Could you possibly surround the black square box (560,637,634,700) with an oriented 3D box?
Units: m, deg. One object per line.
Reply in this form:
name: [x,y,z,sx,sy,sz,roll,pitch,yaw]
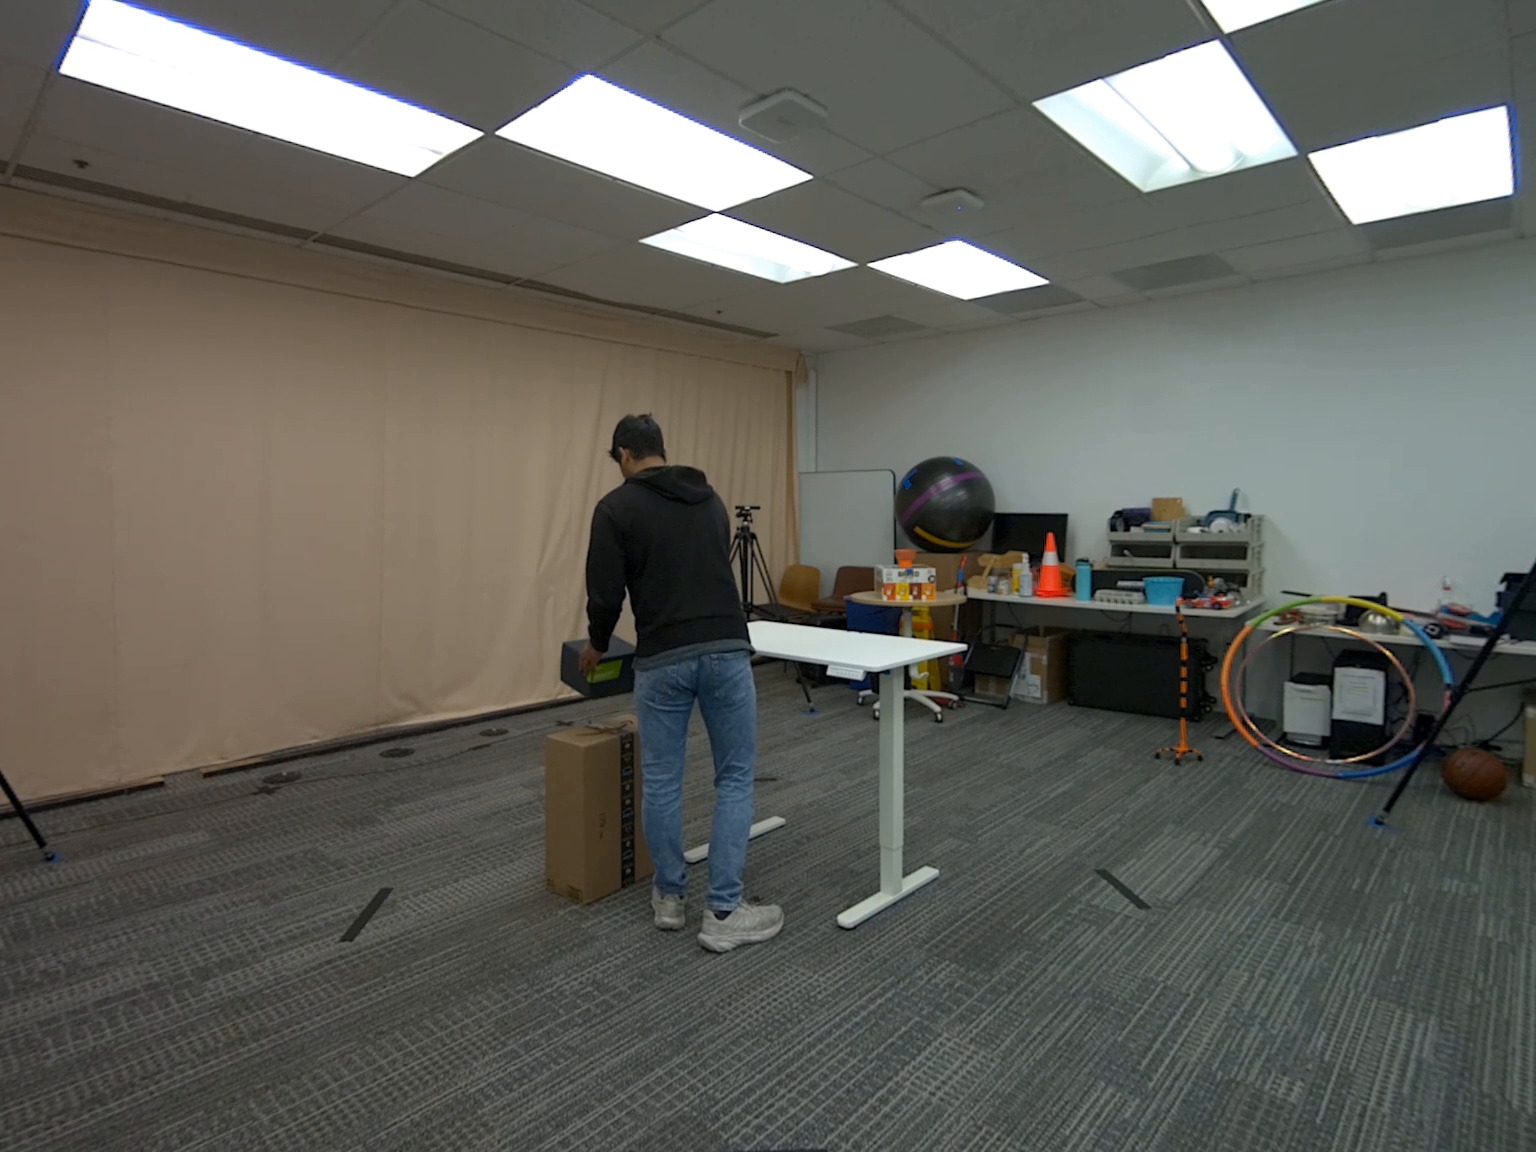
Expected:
black square box: [-0.613,0.336,3.169,0.221,0.155,0.225,-5,17,-42]
